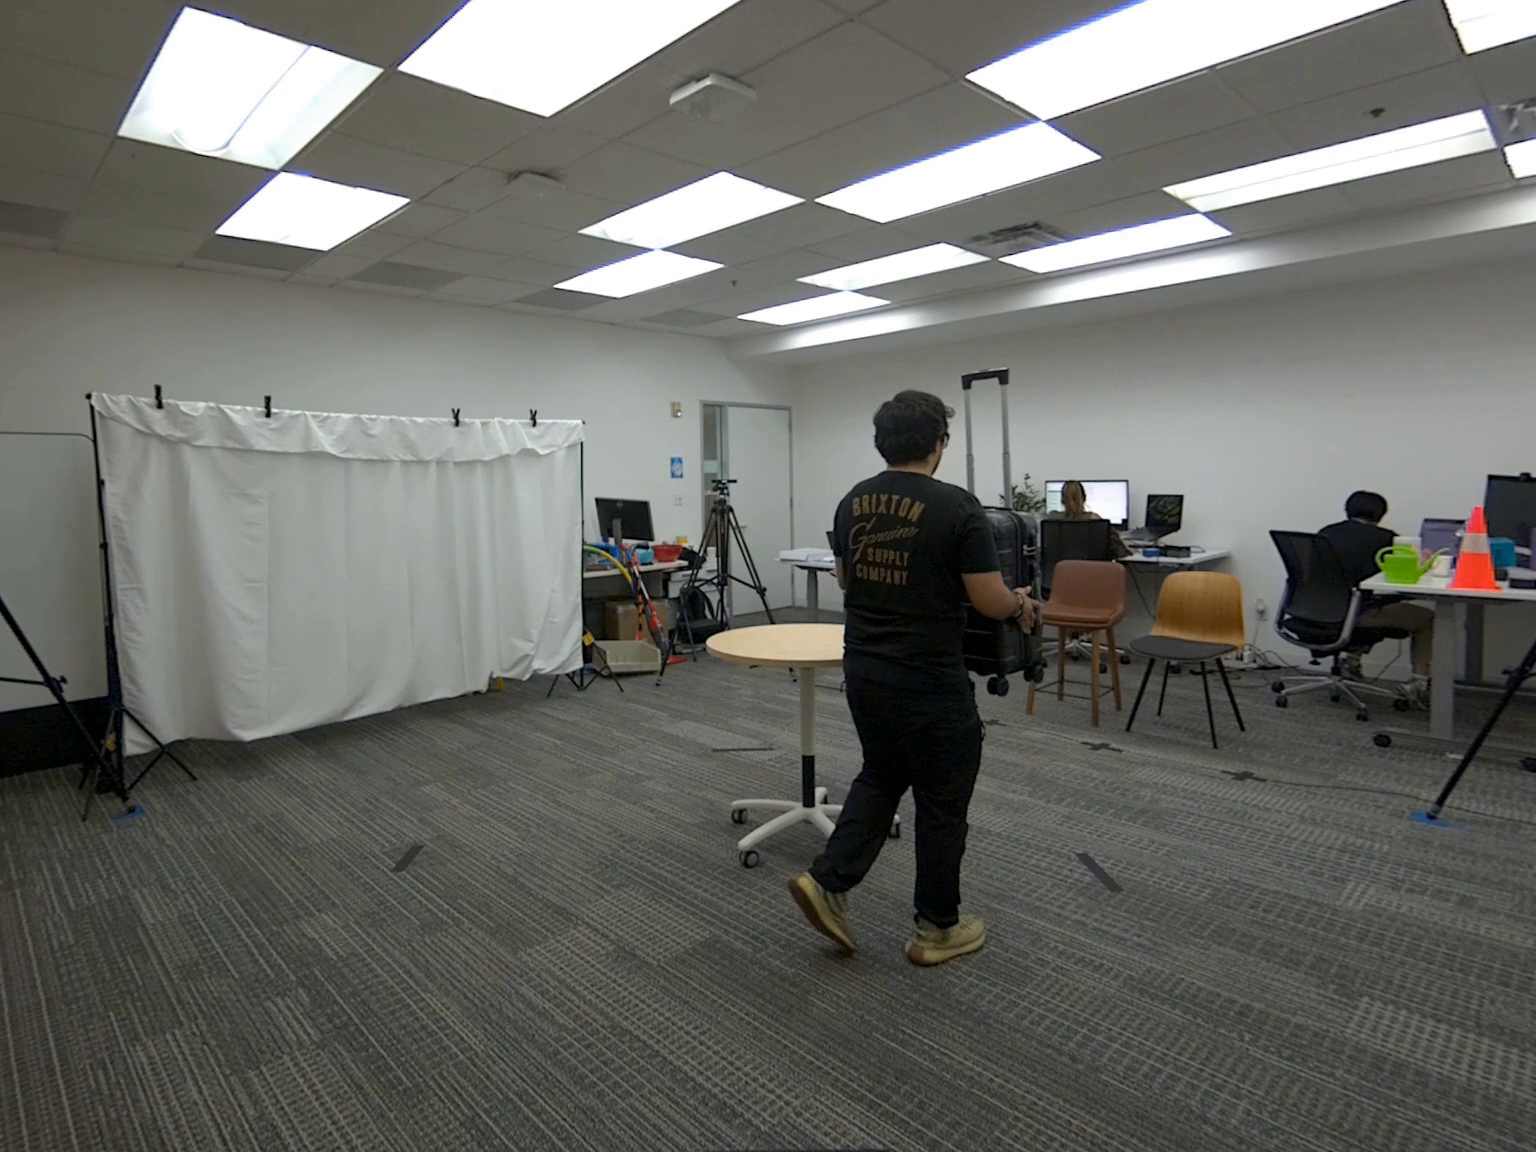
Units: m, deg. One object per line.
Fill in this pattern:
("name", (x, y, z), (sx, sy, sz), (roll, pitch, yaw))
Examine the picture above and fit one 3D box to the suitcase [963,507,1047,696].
("suitcase", (0.646, -0.148, 2.690), (0.251, 0.974, 0.395), (-7, 6, -39))
